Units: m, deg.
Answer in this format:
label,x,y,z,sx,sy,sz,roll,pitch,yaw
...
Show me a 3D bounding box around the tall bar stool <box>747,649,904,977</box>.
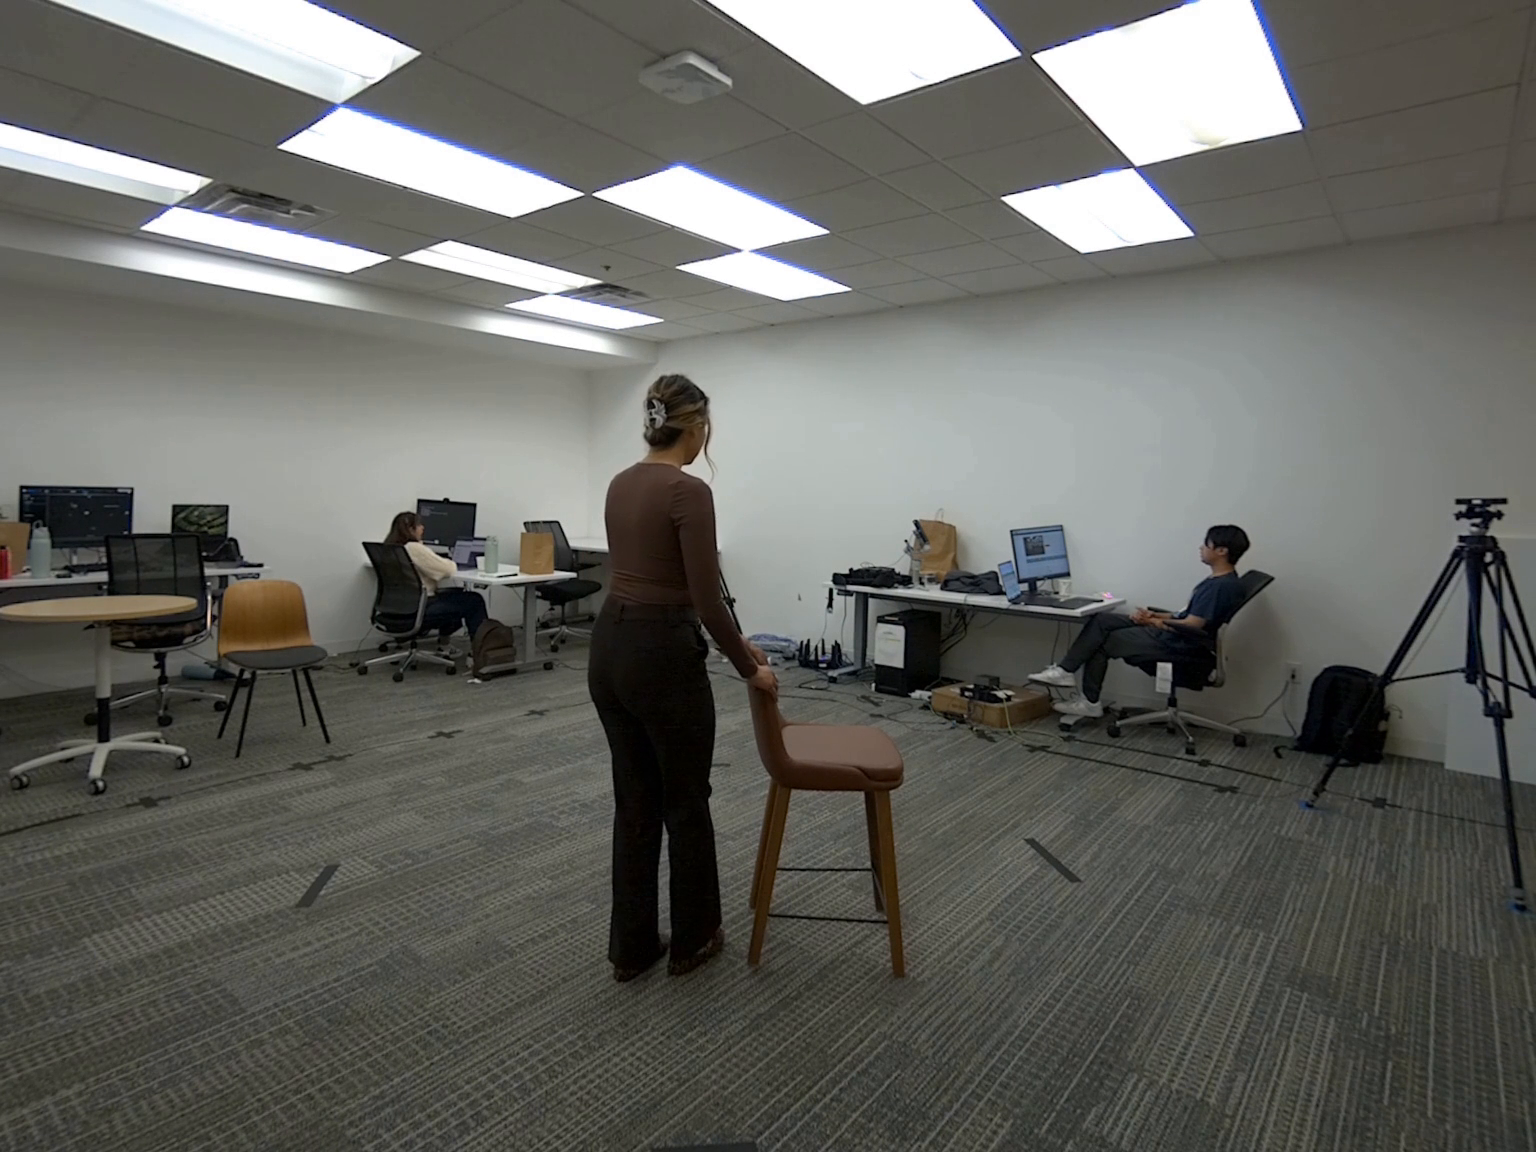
label,x,y,z,sx,sy,sz,roll,pitch,yaw
tall bar stool,0.161,0.686,2.628,0.470,0.888,0.456,-1,3,3
